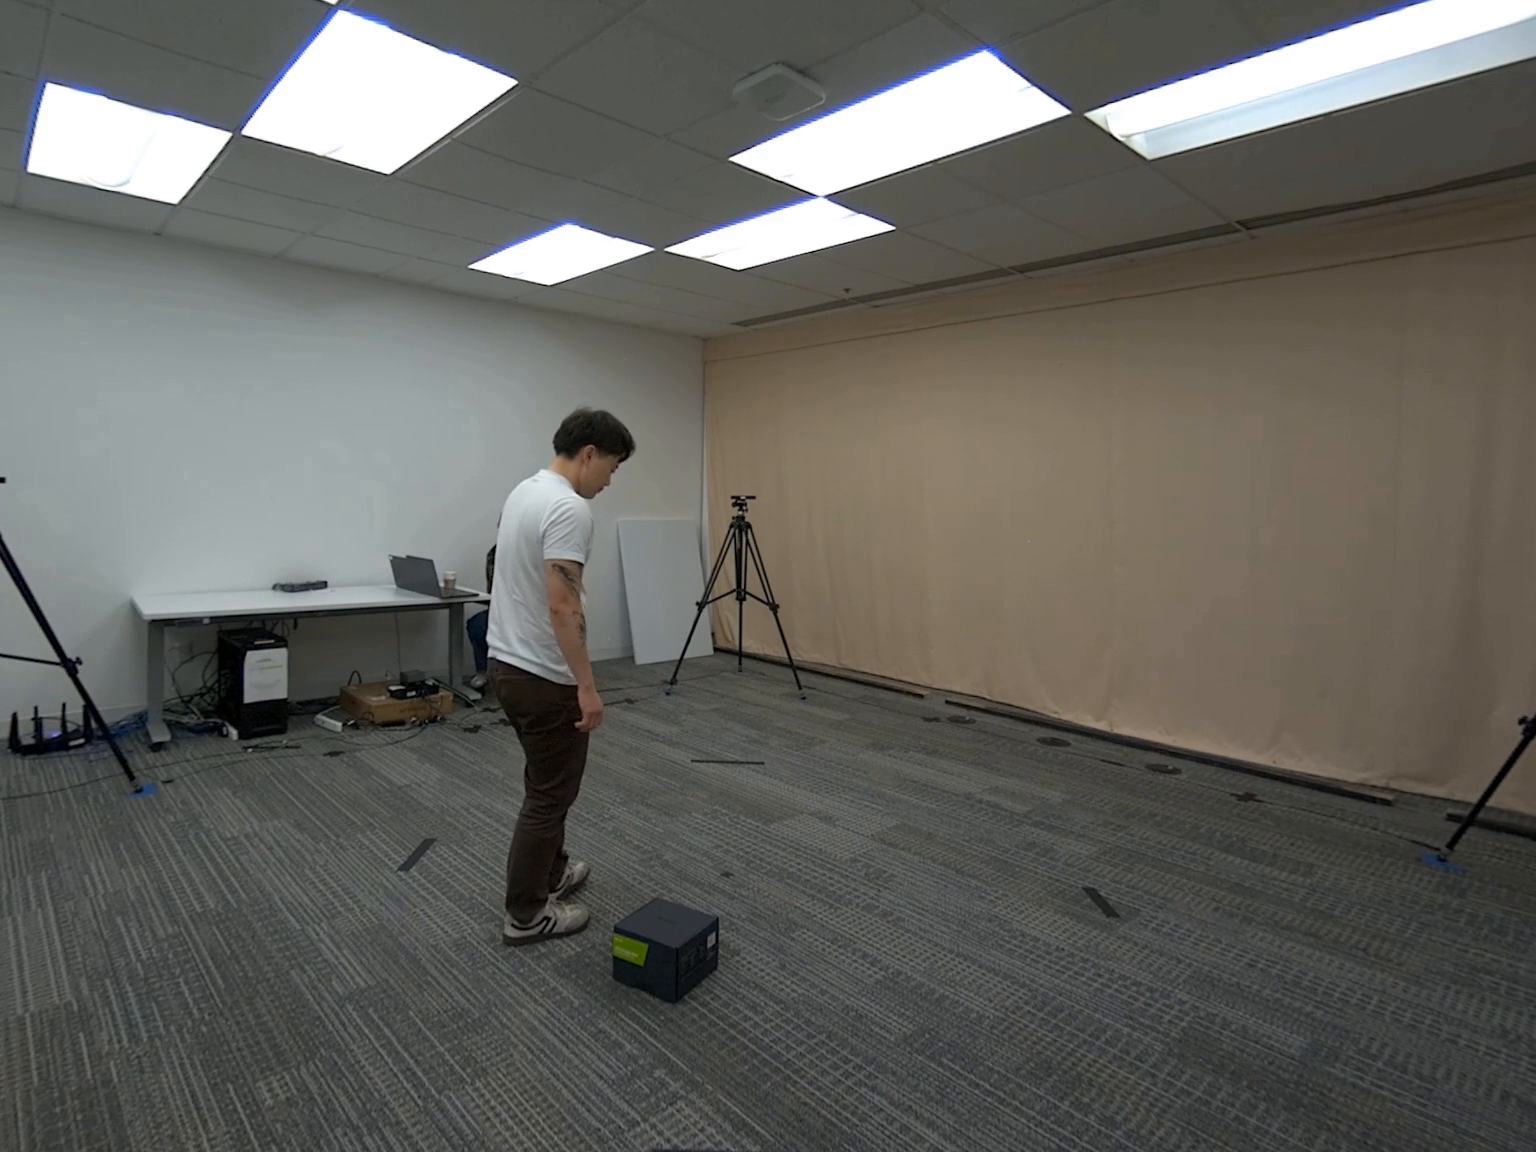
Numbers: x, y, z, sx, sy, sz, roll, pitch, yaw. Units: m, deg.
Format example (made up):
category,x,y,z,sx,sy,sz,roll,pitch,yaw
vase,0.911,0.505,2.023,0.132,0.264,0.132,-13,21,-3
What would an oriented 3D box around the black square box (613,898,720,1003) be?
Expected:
category,x,y,z,sx,sy,sz,roll,pitch,yaw
black square box,-0.304,1.078,2.441,0.233,0.155,0.213,4,5,30
